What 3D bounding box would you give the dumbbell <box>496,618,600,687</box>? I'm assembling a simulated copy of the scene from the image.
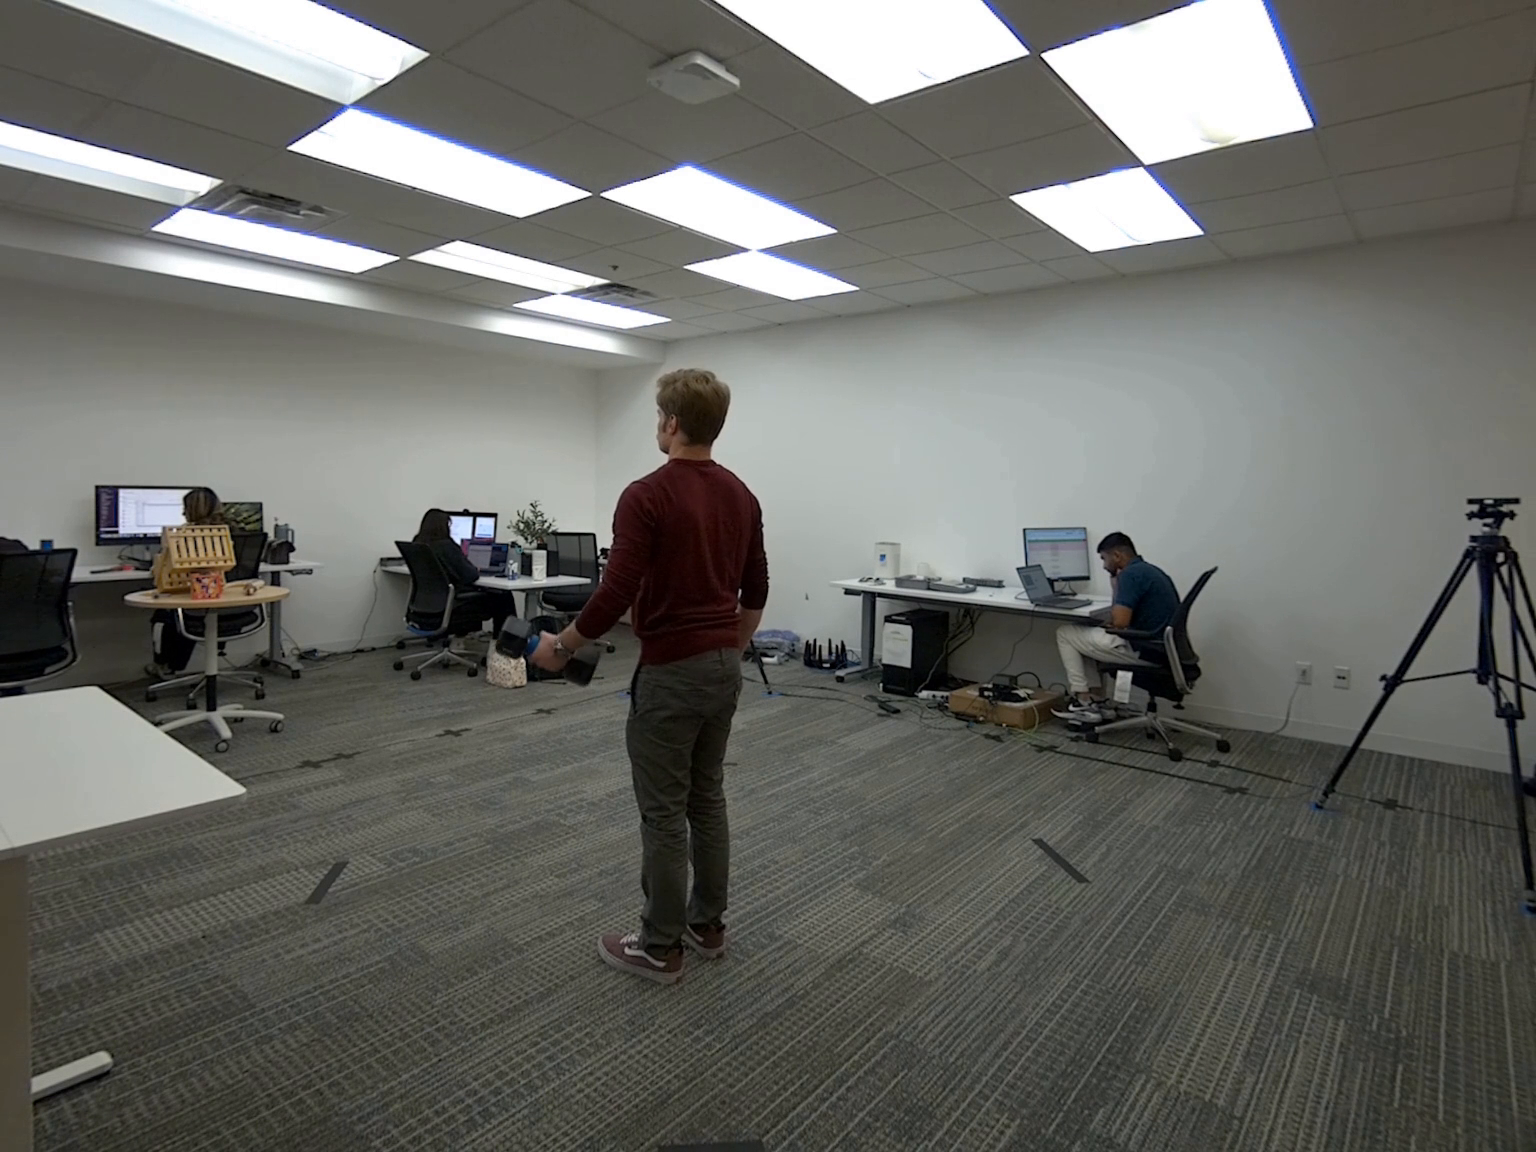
[{"bbox_3d":[-0.642,0.204,2.468,0.292,0.122,0.109,21,8,-3],"label":"dumbbell"}]
